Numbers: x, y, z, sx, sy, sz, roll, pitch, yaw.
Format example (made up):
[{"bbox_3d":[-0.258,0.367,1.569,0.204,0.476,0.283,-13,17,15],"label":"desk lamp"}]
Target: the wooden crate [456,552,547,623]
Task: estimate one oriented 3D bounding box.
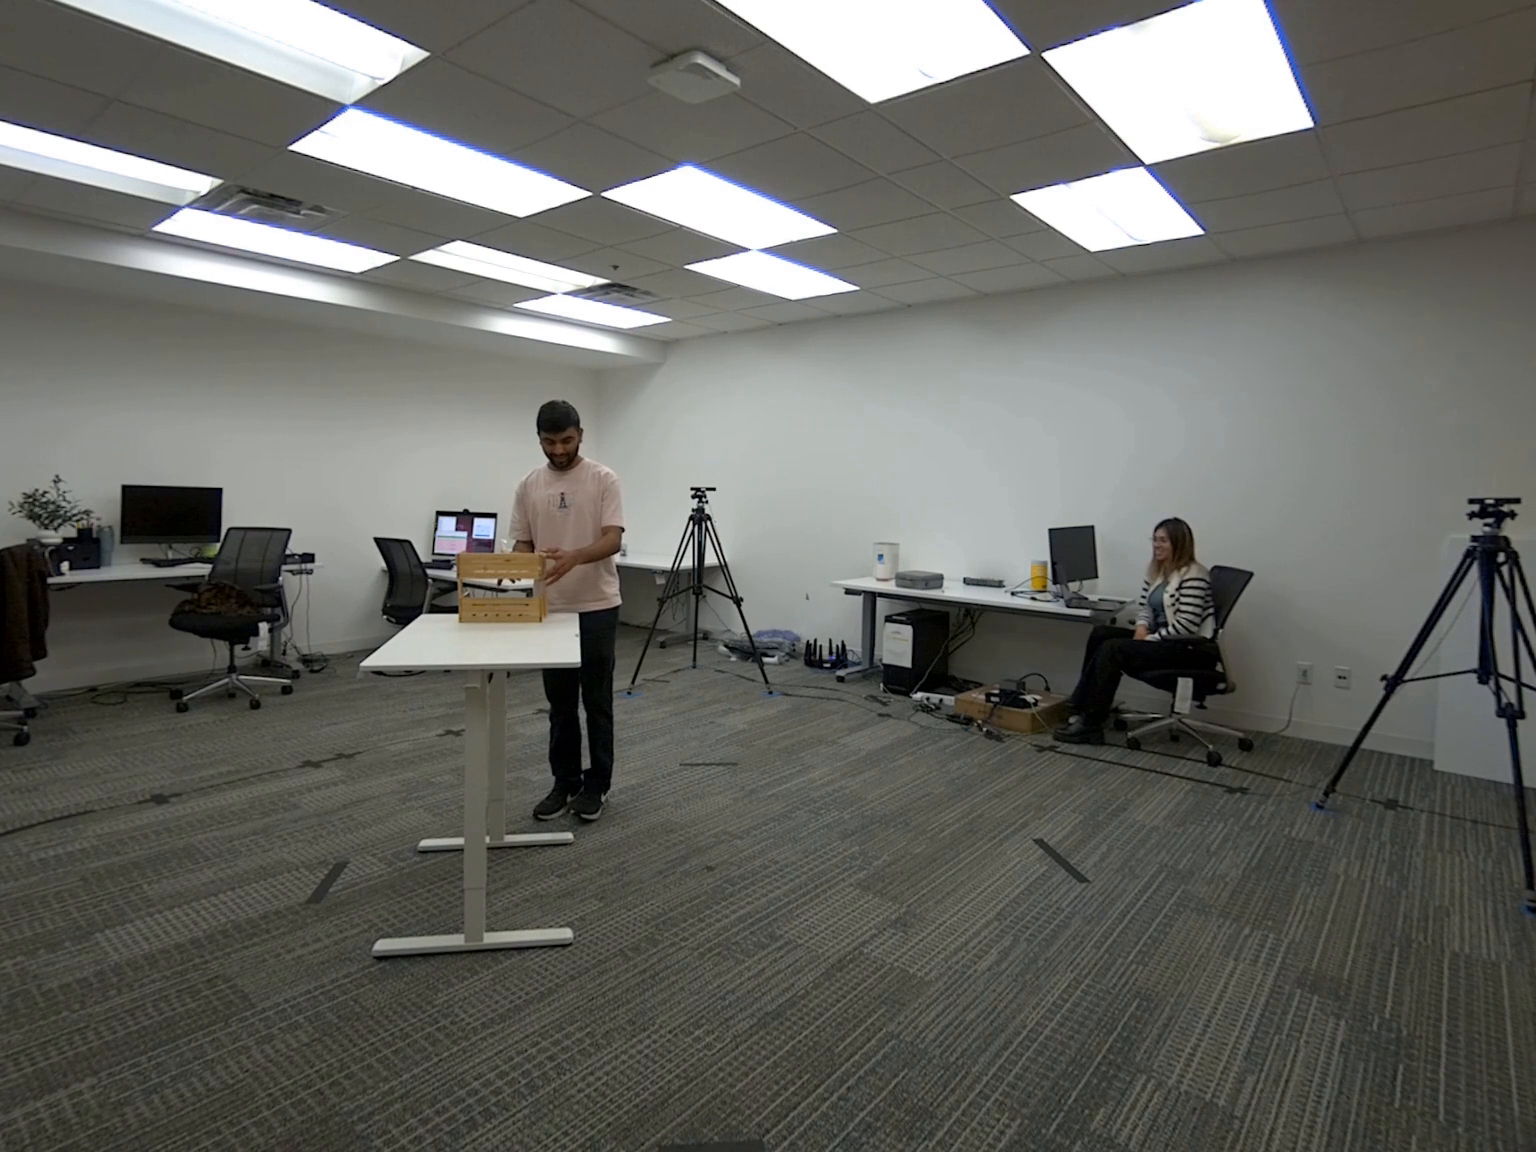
[{"bbox_3d":[-1.035,0.036,3.239,0.321,0.273,0.306,0,2,-11],"label":"wooden crate"}]
